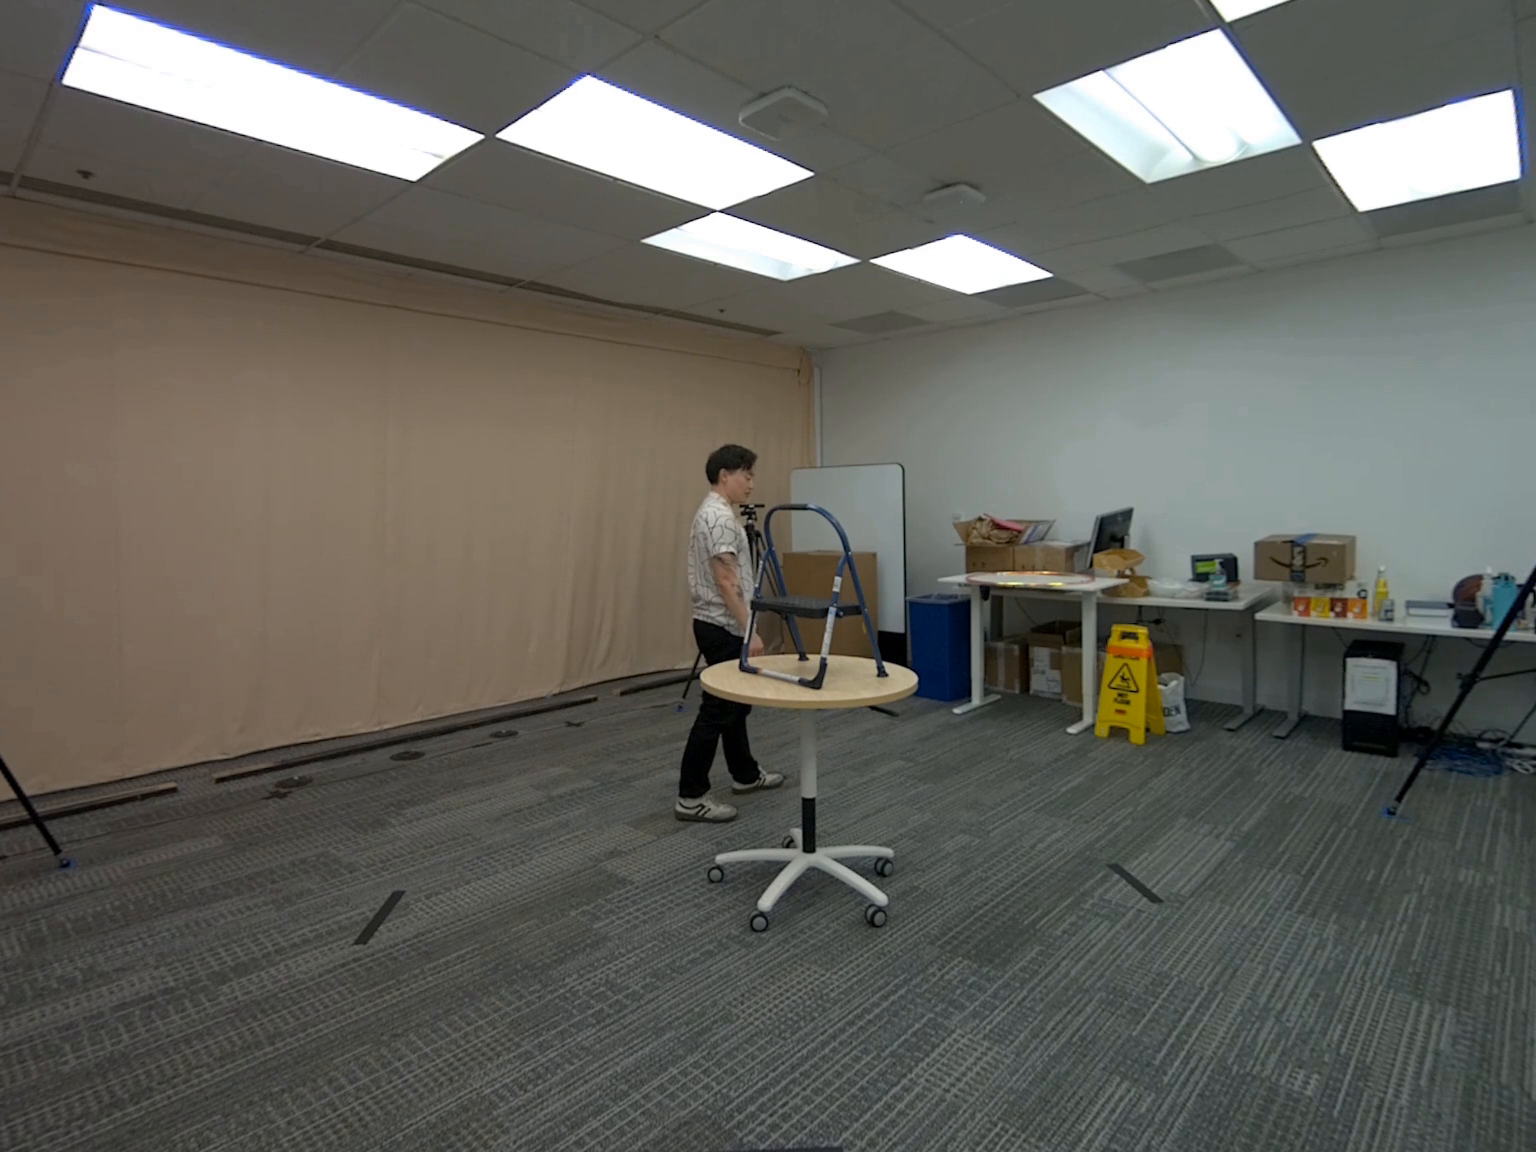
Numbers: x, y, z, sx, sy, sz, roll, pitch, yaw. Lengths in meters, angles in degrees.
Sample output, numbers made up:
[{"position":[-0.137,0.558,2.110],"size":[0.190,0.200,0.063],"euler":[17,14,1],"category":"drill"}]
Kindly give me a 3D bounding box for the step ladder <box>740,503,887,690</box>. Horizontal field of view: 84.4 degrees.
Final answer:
[{"position":[0.157,0.048,3.003],"size":[0.338,0.605,0.445],"euler":[-3,4,-41],"category":"step ladder"}]
